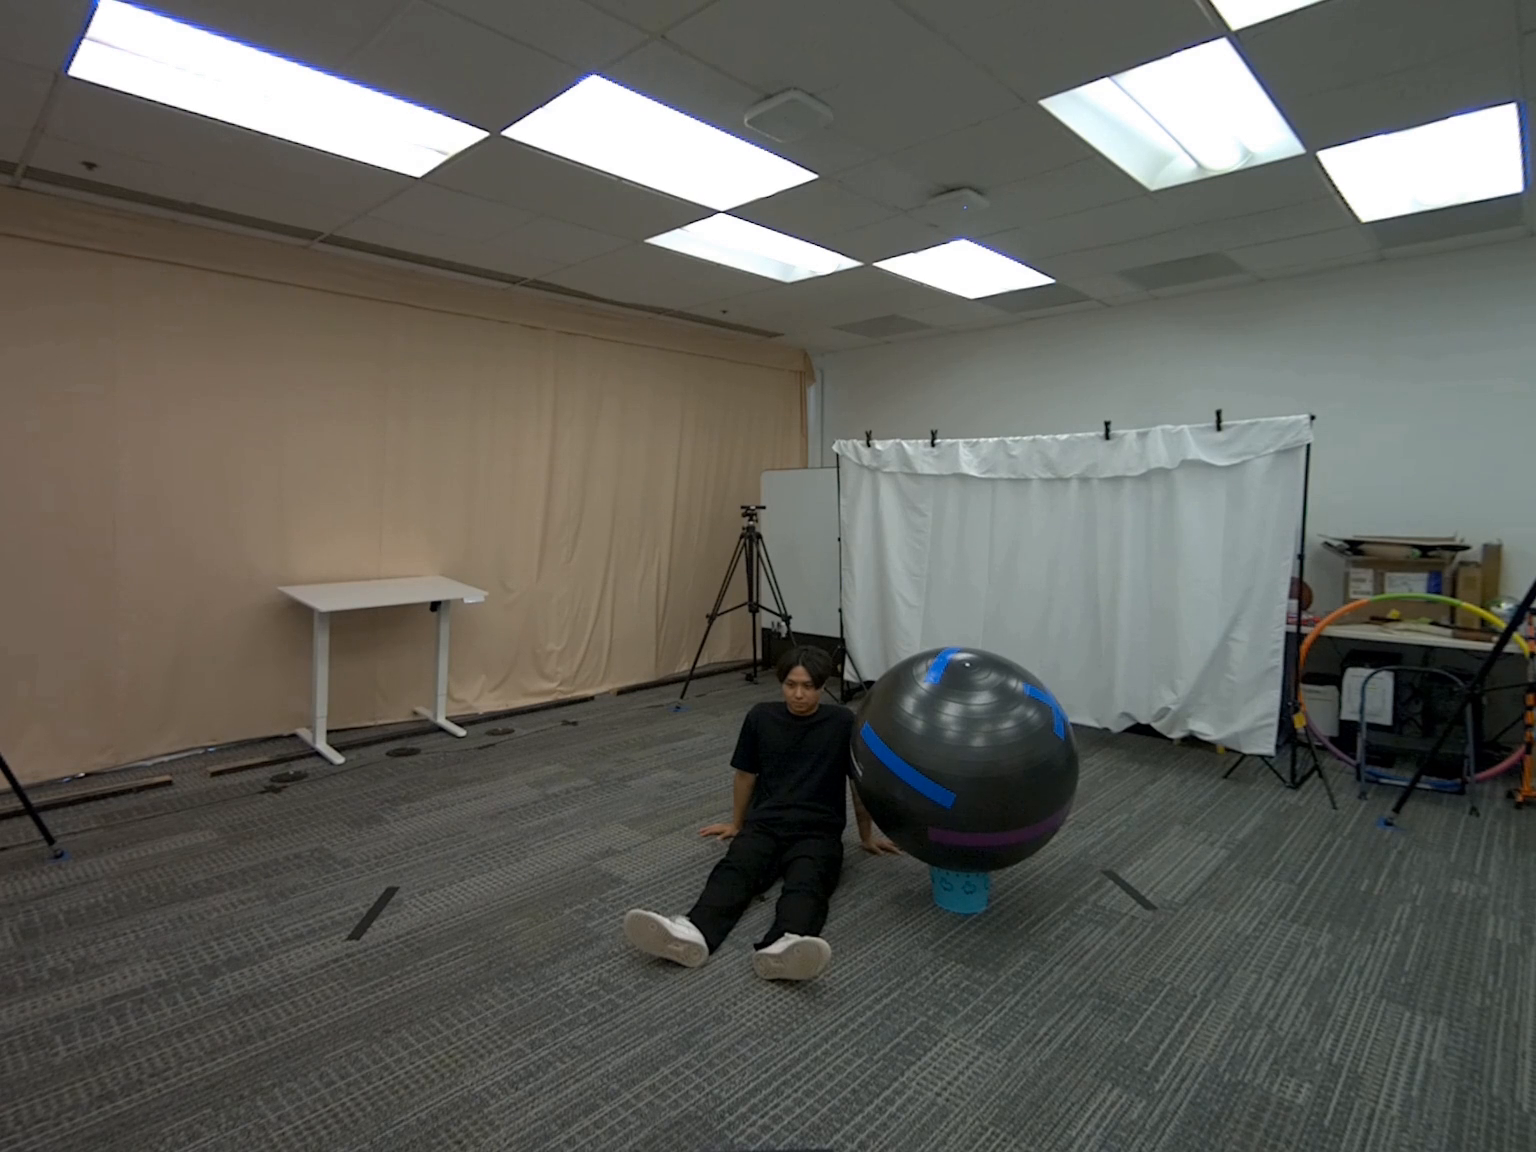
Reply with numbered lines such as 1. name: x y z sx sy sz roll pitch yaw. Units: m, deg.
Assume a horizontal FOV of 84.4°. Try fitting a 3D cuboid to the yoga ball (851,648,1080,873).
1. yoga ball: 0.687 0.638 2.931 0.757 0.756 0.760 0 4 -2
